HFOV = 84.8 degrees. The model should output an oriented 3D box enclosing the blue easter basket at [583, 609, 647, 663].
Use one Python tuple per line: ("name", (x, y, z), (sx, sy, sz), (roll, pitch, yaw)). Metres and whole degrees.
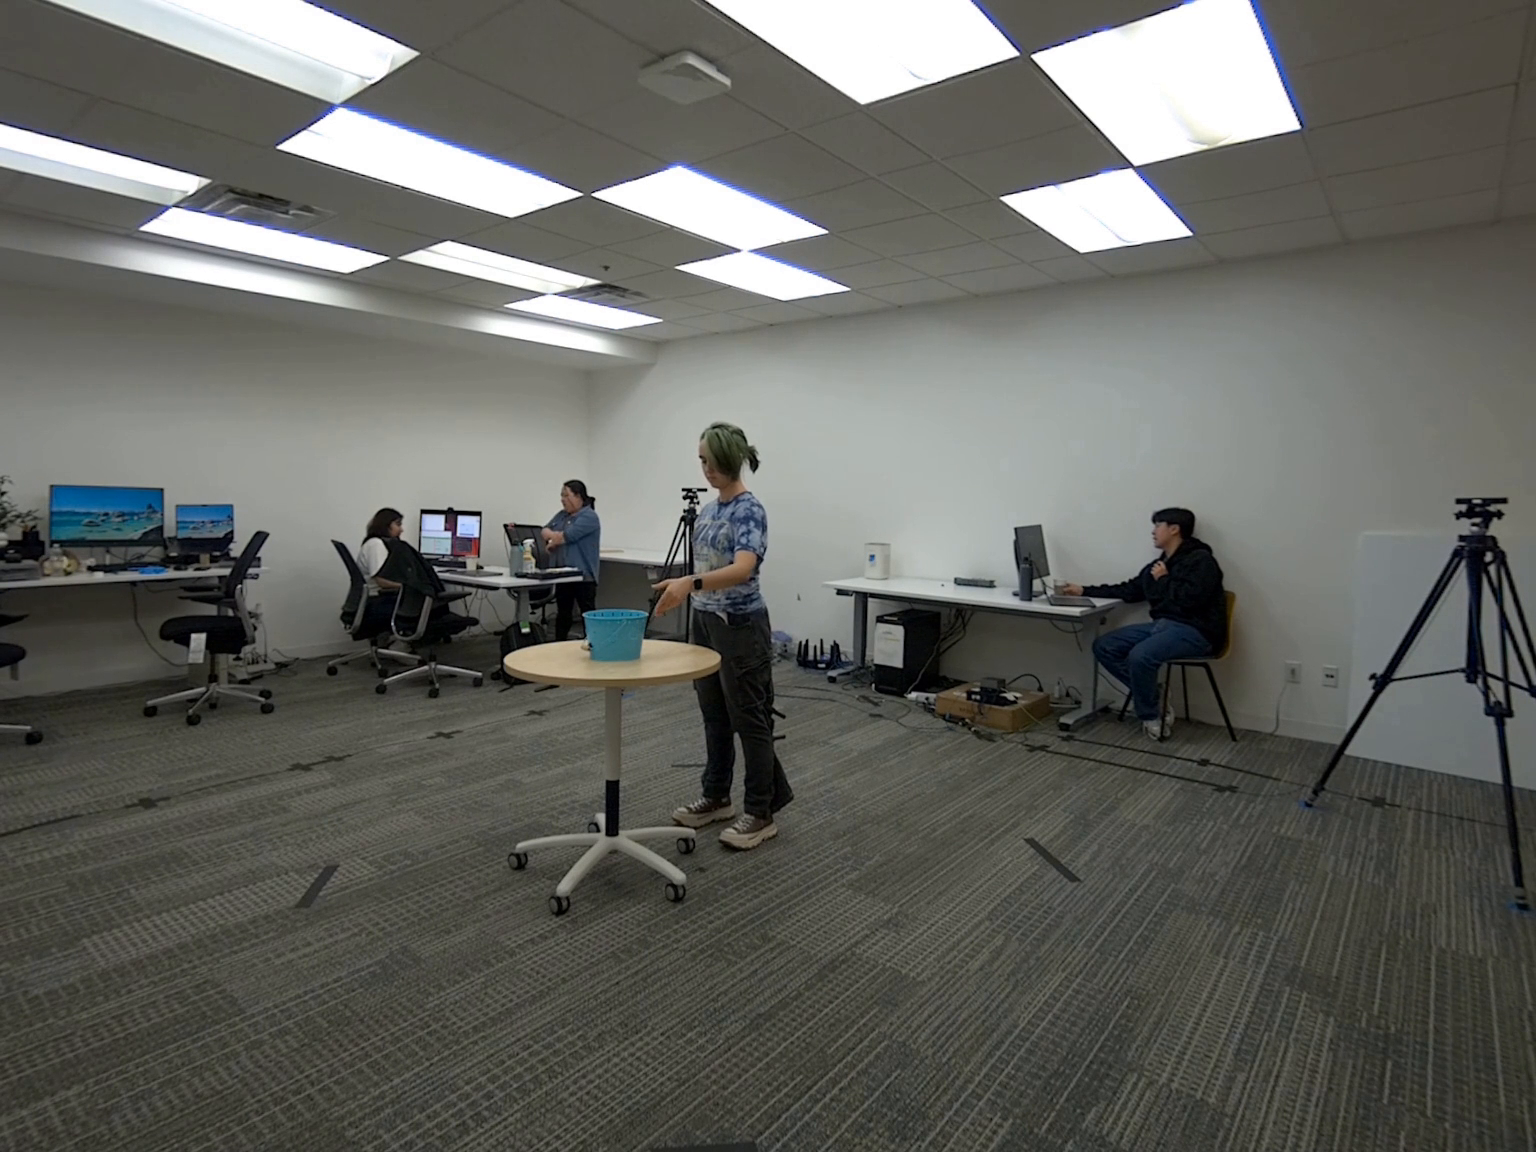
("blue easter basket", (-0.566, 0.213, 3.039), (0.243, 0.155, 0.244), (1, 4, -2))
